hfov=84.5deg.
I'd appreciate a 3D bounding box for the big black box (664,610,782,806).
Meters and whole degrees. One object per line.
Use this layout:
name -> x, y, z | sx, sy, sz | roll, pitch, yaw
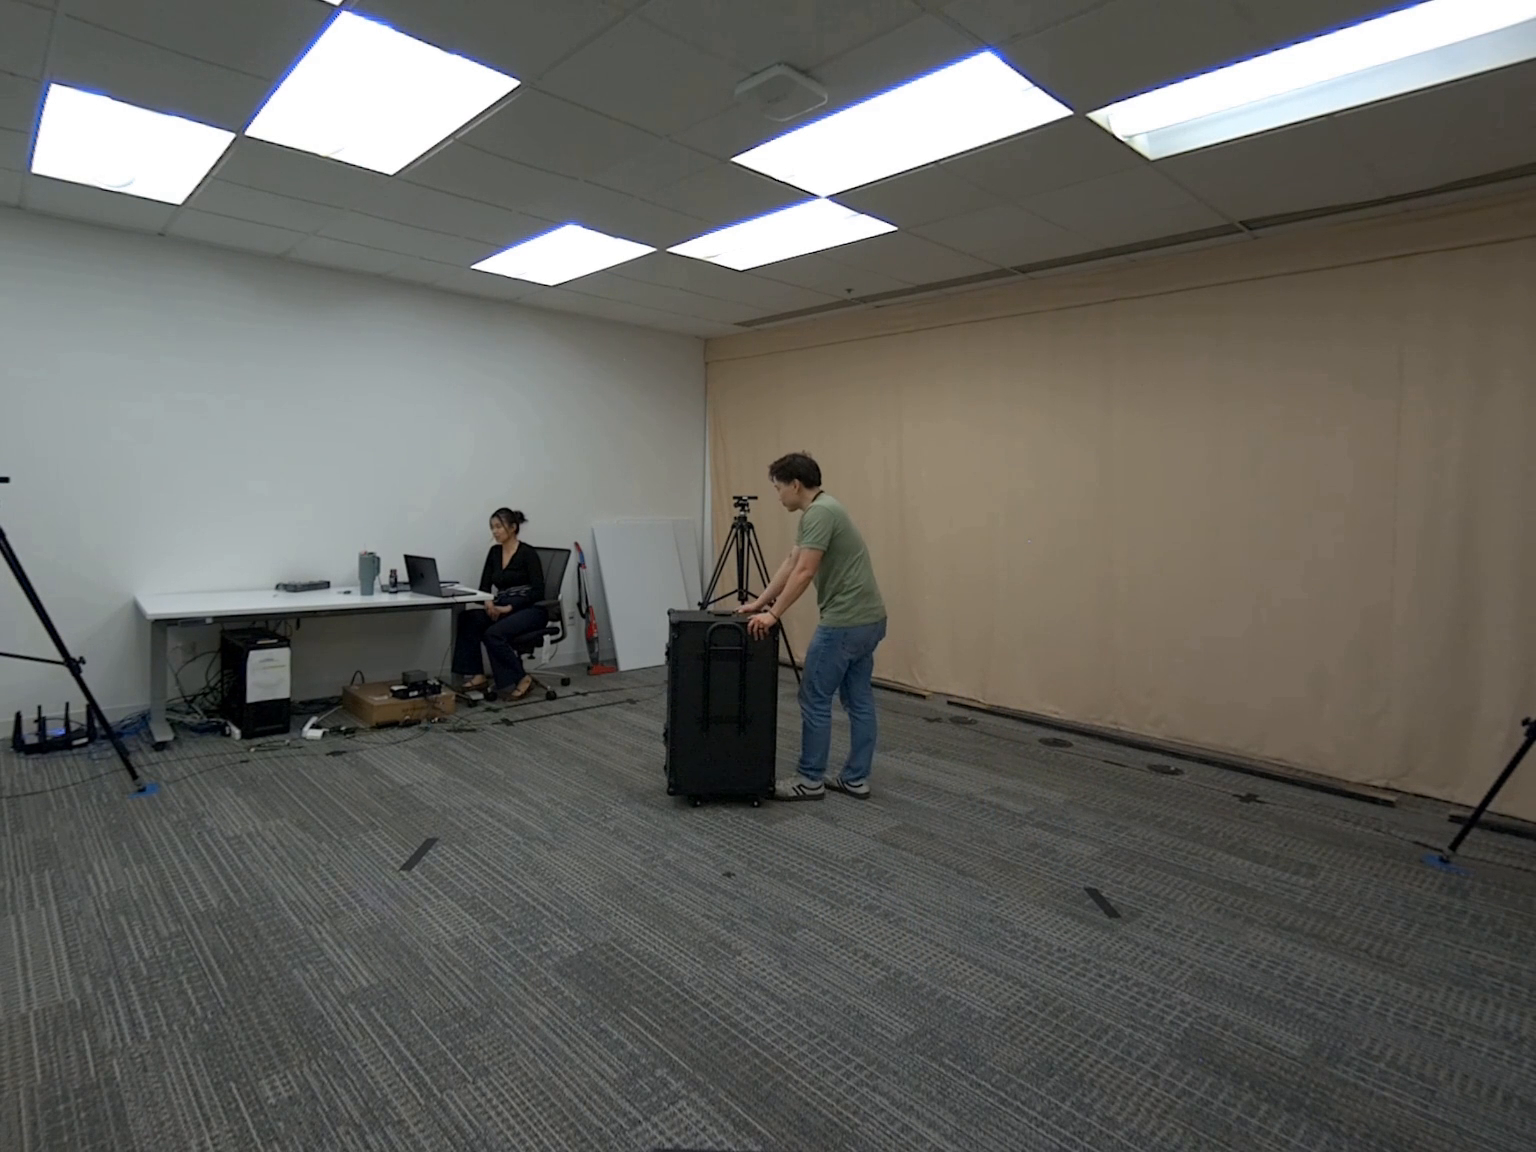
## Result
big black box -> -0.223, 0.605, 3.892 | 0.518, 0.859, 0.399 | 0, 4, -7
